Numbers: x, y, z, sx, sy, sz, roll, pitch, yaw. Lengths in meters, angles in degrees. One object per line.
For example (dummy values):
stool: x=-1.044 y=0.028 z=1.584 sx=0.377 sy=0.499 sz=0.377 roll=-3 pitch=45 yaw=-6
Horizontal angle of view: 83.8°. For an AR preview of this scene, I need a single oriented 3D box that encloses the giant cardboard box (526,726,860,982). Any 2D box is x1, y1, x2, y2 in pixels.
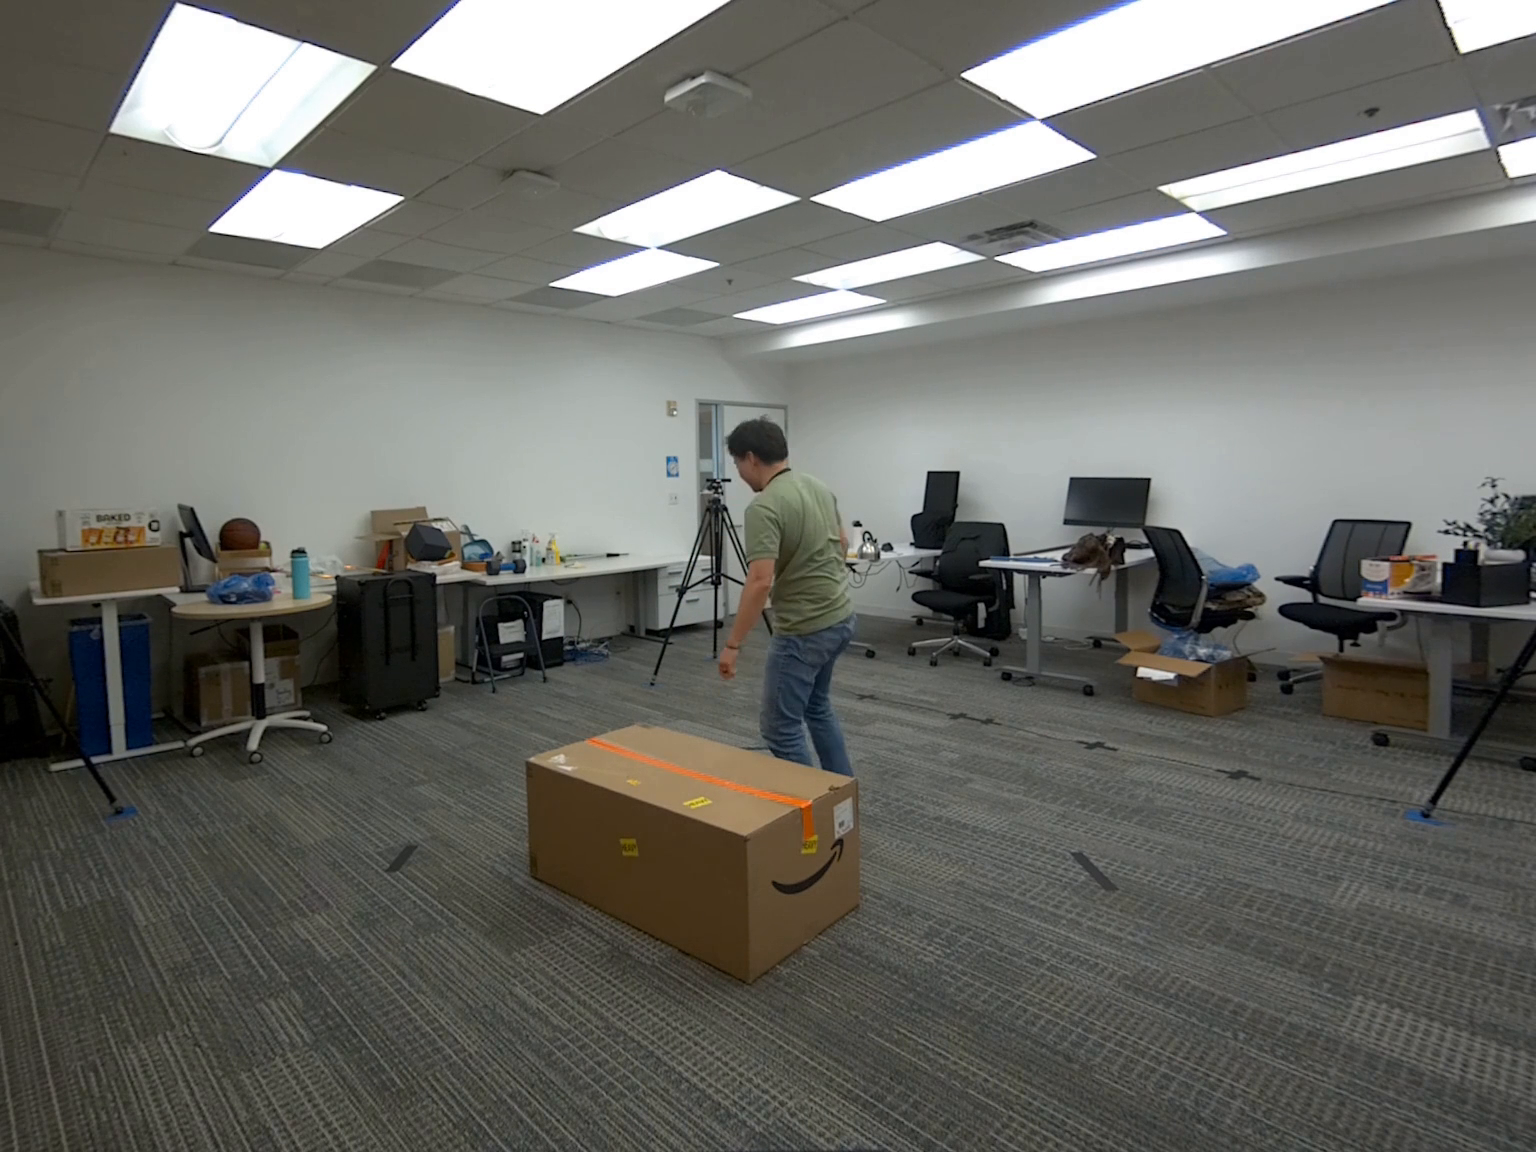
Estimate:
giant cardboard box: x=-0.277 y=0.861 z=2.899 sx=1.057 sy=0.424 sz=0.563 roll=4 pitch=8 yaw=40
